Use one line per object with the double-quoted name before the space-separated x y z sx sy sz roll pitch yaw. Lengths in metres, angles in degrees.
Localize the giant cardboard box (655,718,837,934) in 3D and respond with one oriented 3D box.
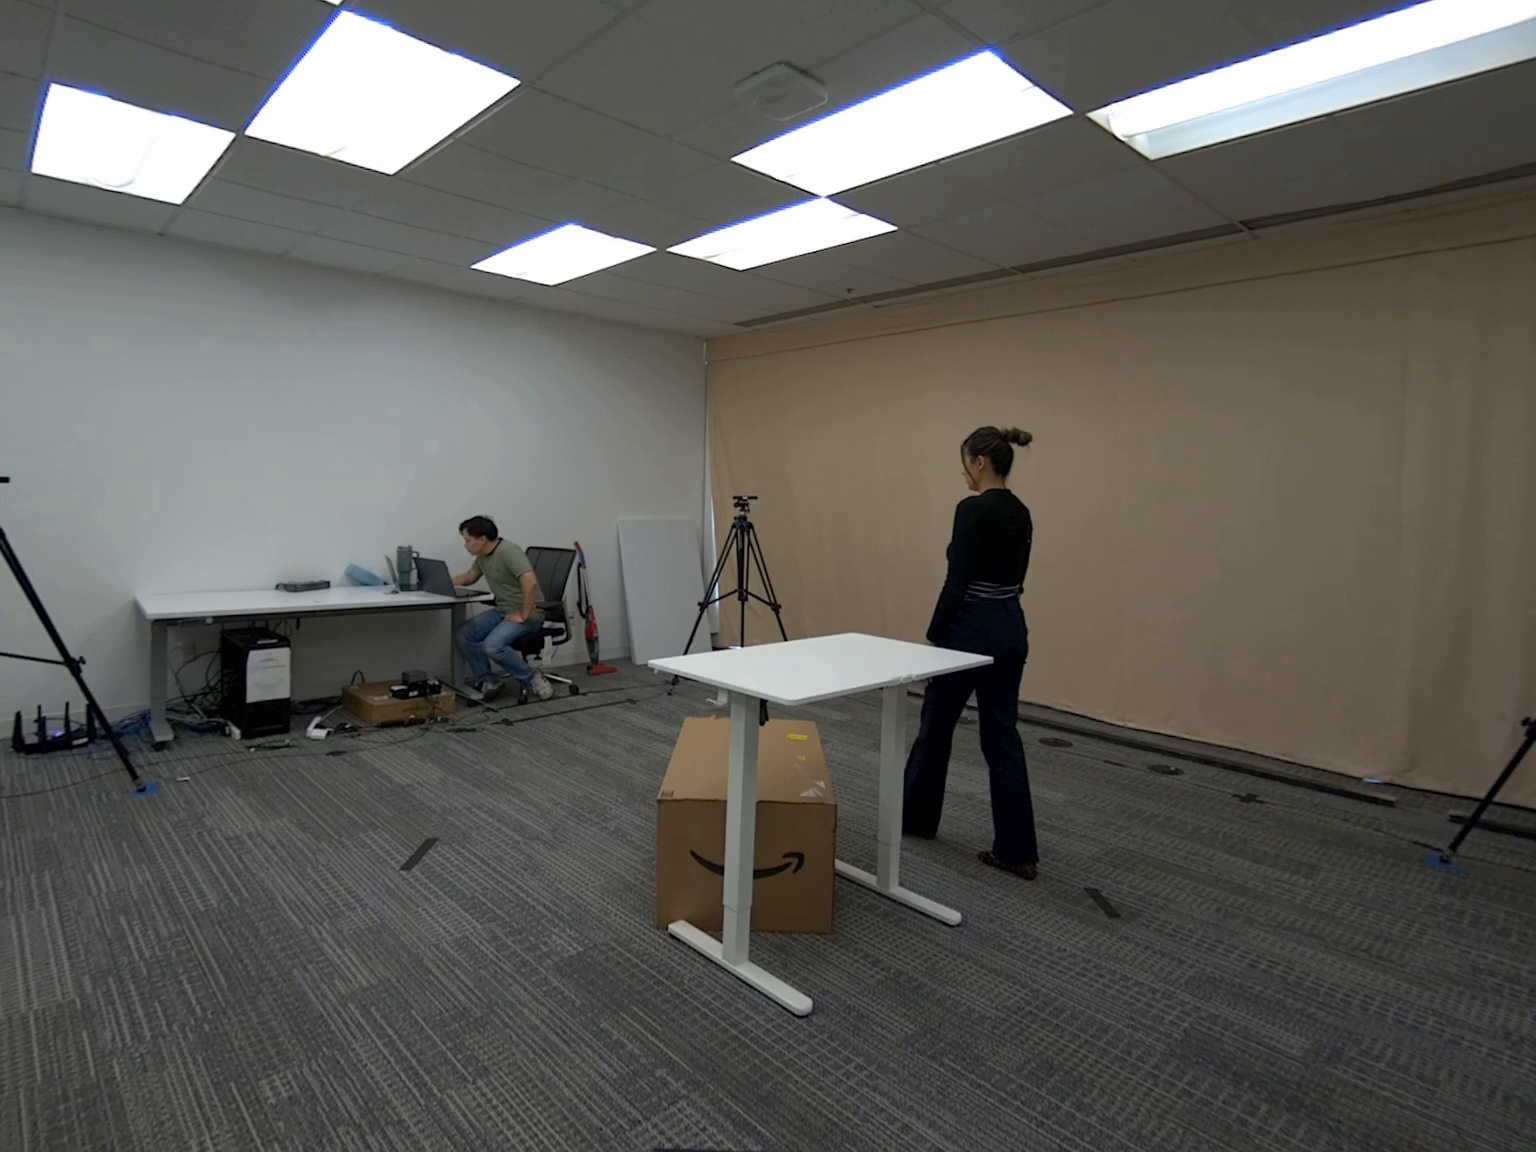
"giant cardboard box" -0.087 0.881 3.194 0.578 0.425 1.028 2 5 -1
